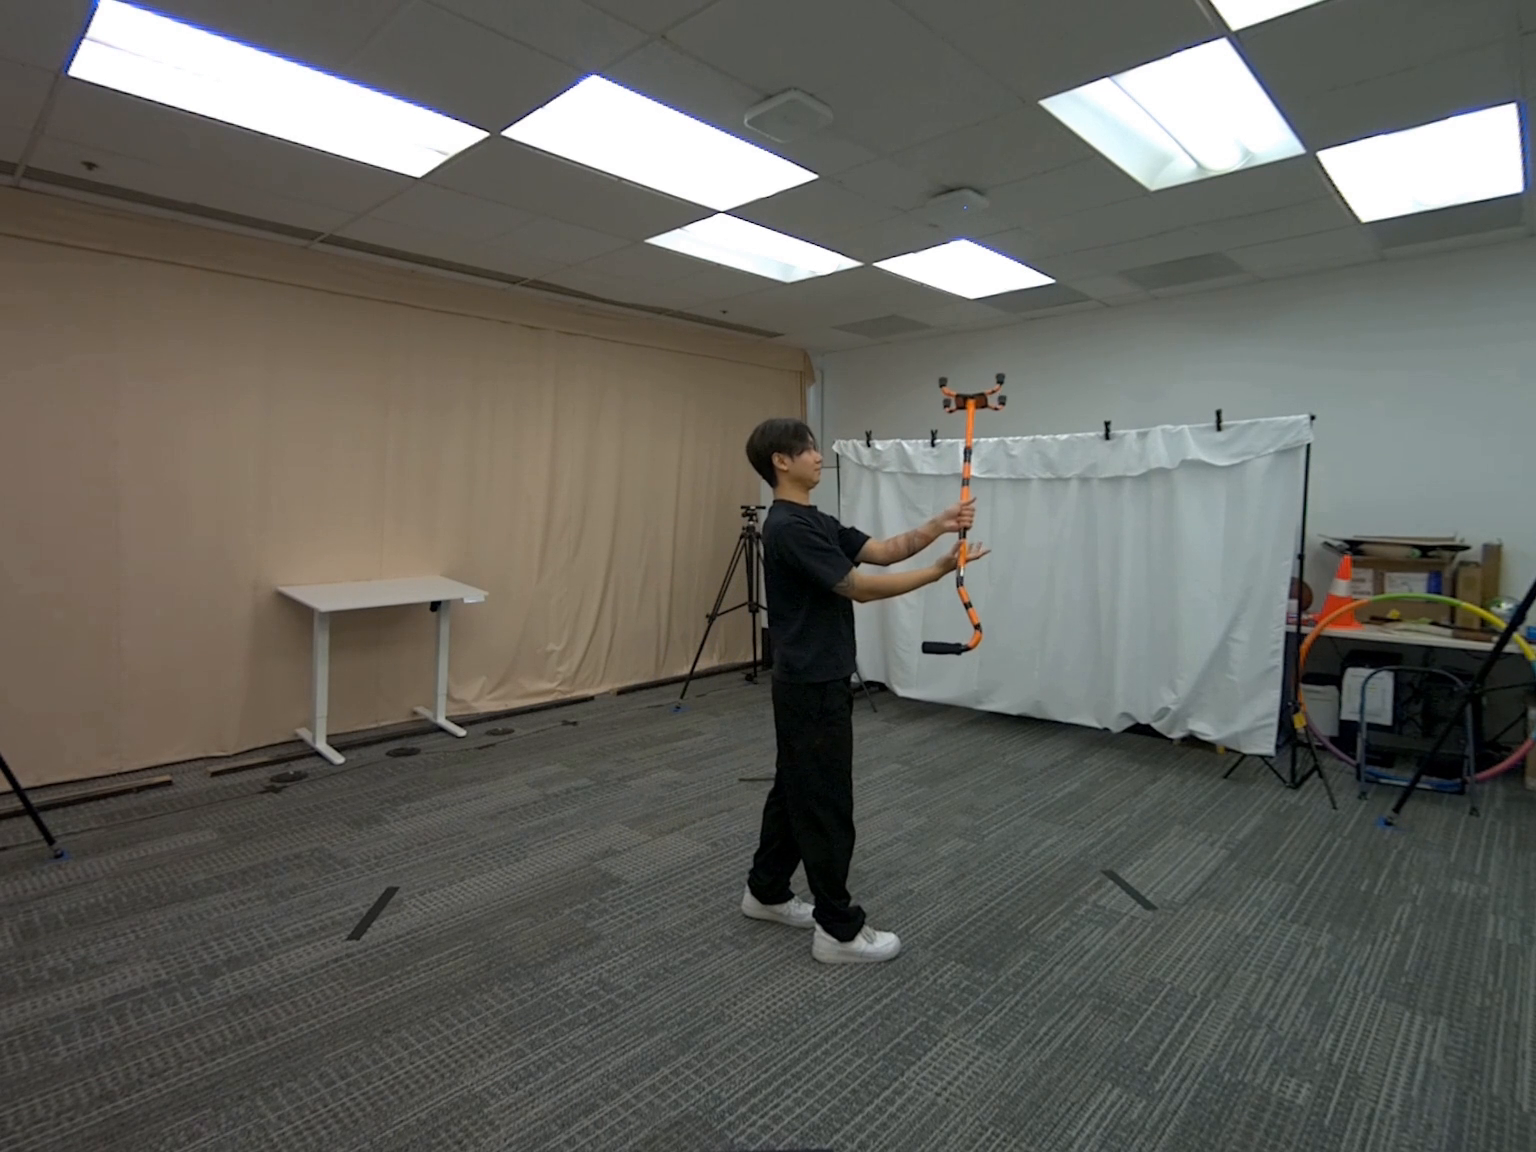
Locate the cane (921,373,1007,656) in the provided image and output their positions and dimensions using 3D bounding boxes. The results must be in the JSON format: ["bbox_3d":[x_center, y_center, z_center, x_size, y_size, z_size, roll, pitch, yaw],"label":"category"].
[{"bbox_3d":[0.616,-0.198,2.574,0.211,0.916,0.147,-1,-24,21],"label":"cane"}]
